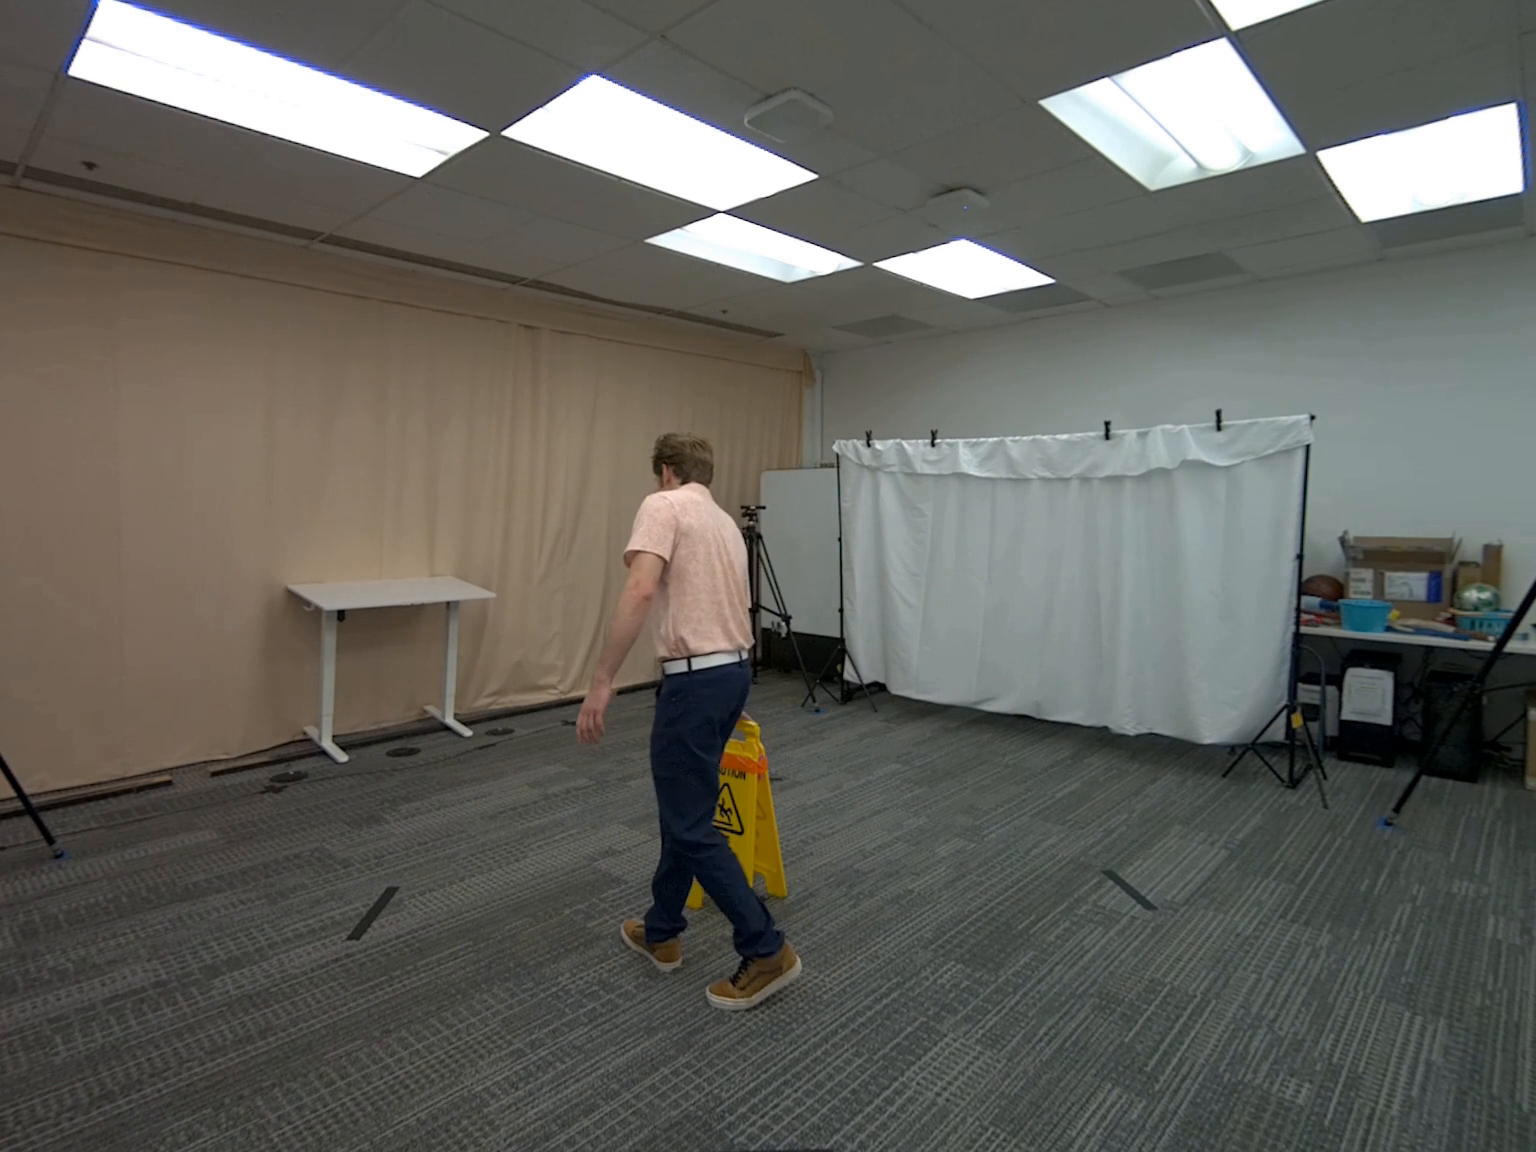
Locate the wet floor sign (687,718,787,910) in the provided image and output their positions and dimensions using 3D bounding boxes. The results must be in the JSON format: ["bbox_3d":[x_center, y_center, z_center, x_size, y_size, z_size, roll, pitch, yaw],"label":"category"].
[{"bbox_3d":[-0.112,0.822,2.954,0.291,0.645,0.281,2,3,34],"label":"wet floor sign"}]
